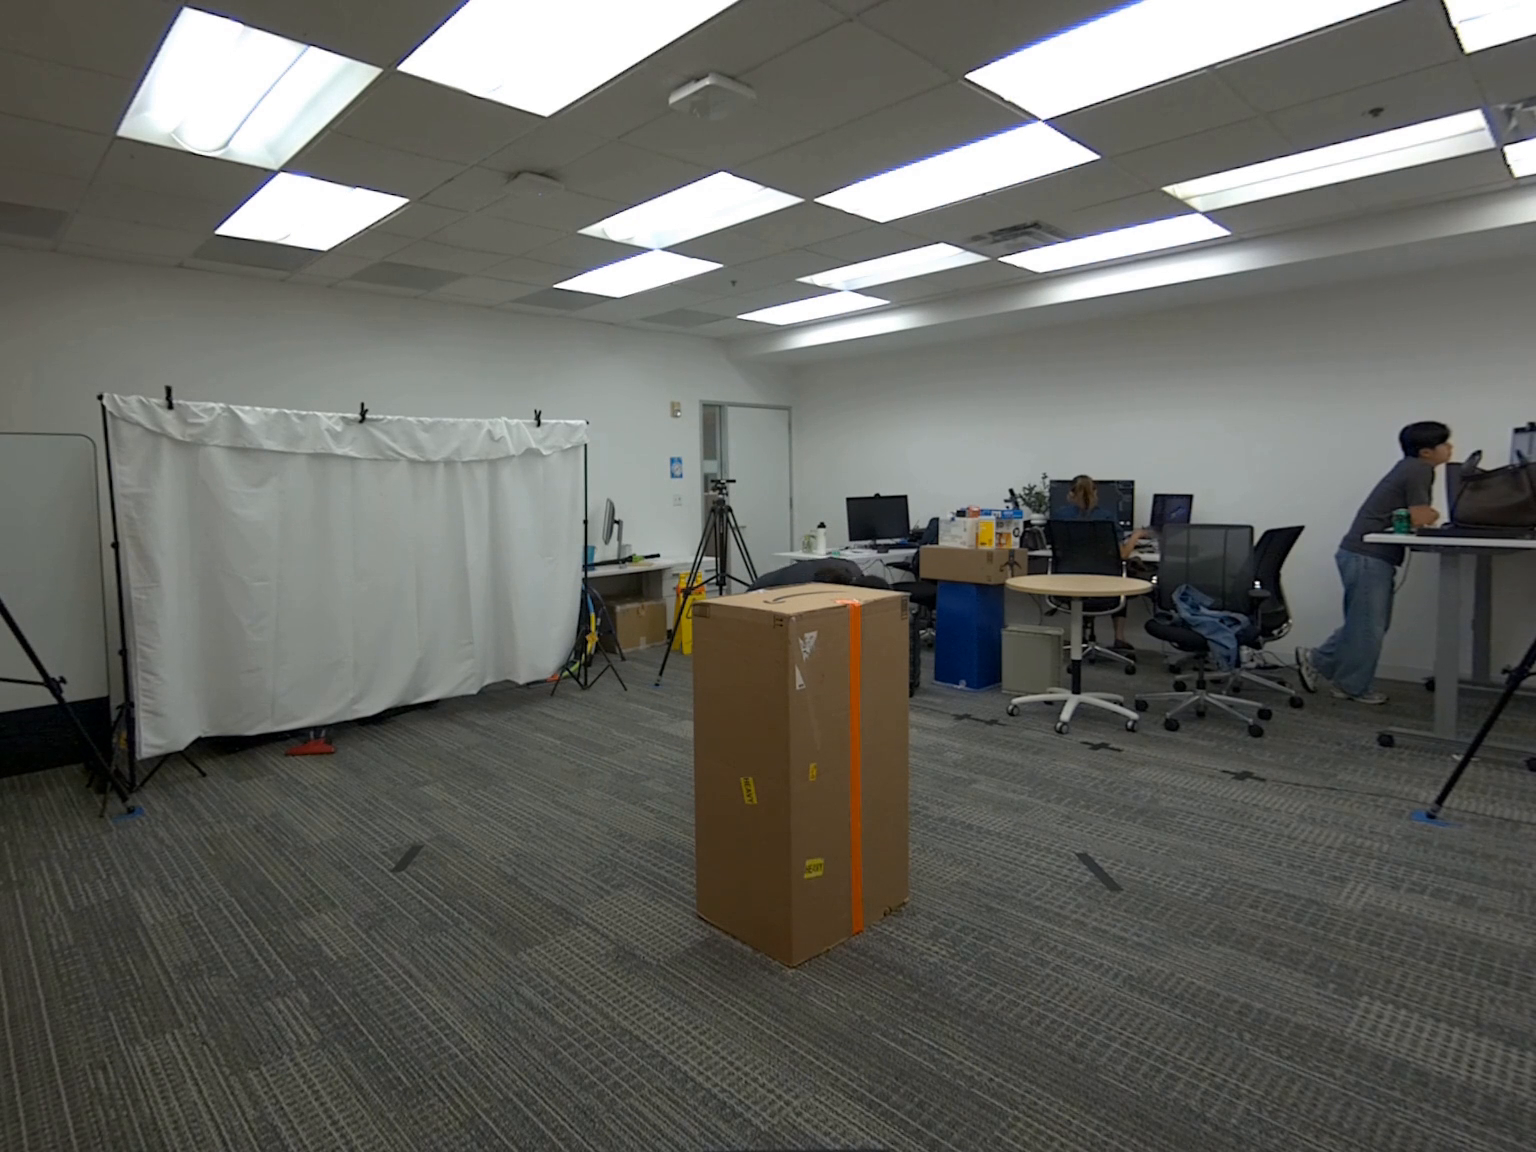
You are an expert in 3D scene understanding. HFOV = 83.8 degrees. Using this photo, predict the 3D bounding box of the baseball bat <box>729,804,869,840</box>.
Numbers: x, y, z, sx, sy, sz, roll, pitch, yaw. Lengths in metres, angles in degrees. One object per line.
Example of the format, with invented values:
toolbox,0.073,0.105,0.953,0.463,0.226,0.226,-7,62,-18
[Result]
baseball bat,0.122,0.974,3.409,0.537,0.089,0.090,1,4,-10
